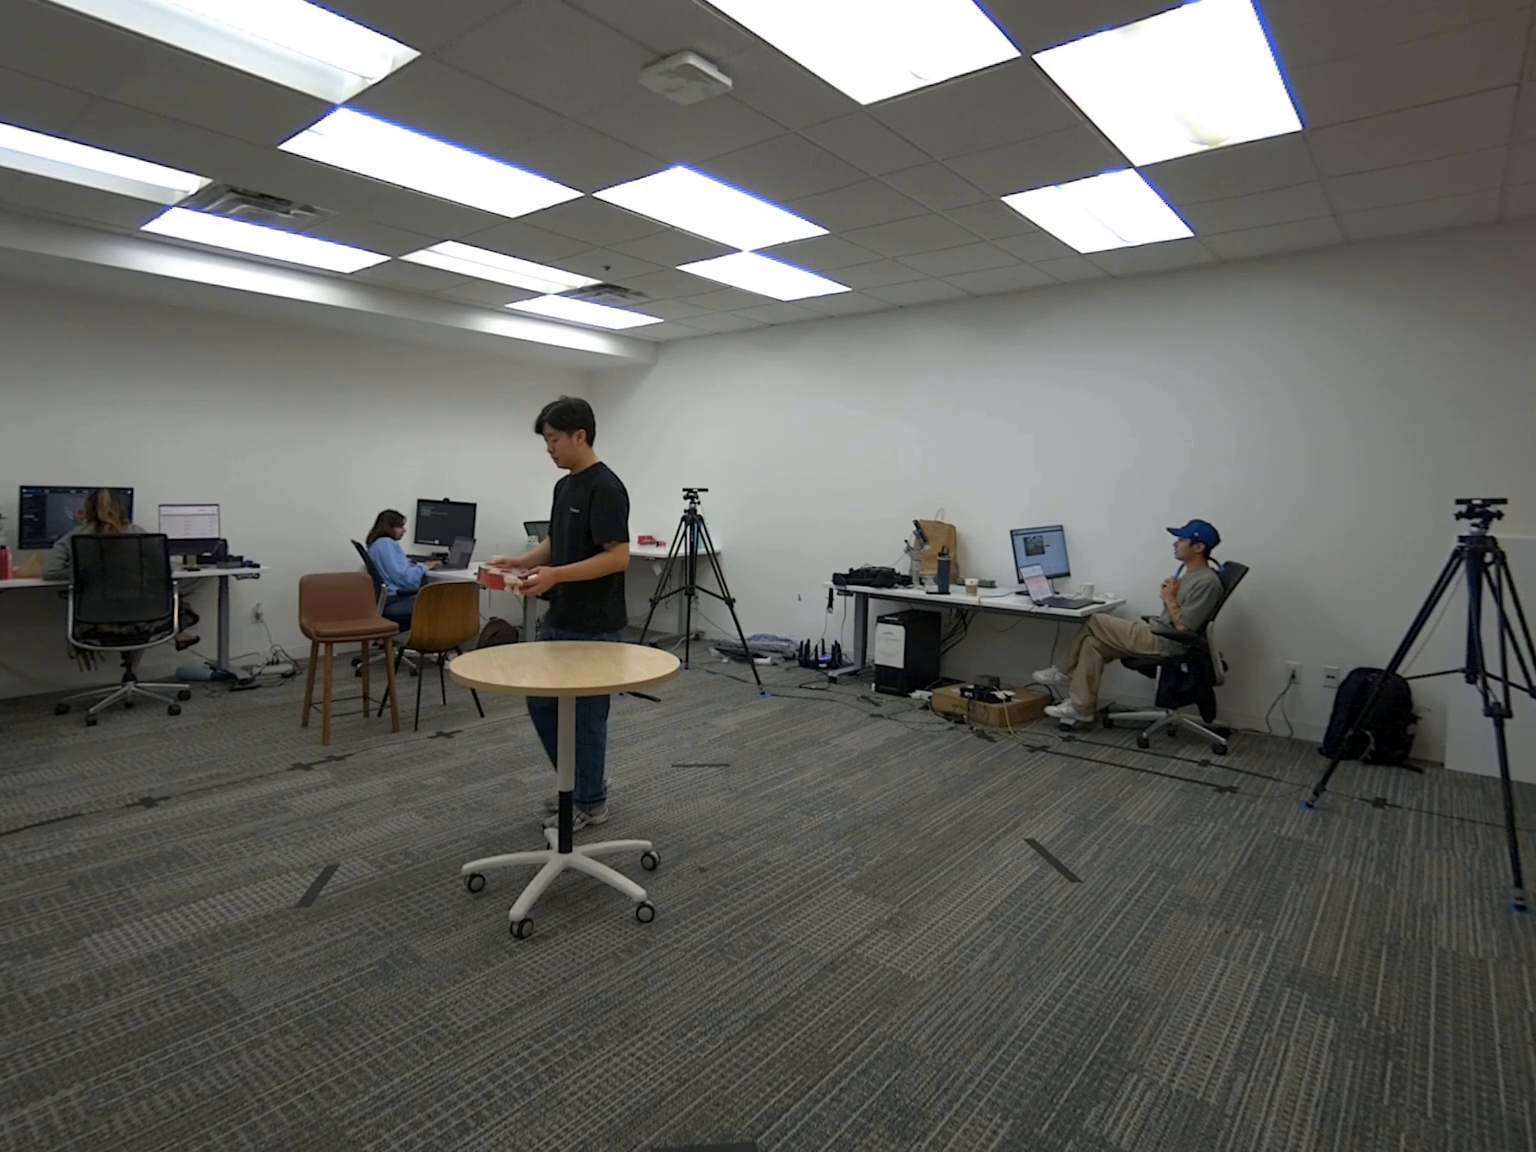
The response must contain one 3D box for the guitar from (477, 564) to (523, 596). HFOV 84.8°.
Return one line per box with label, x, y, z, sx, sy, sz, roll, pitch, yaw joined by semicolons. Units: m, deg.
guitar;-1.008;0.013;3.158;0.190;0.070;0.506;6;7;-12
